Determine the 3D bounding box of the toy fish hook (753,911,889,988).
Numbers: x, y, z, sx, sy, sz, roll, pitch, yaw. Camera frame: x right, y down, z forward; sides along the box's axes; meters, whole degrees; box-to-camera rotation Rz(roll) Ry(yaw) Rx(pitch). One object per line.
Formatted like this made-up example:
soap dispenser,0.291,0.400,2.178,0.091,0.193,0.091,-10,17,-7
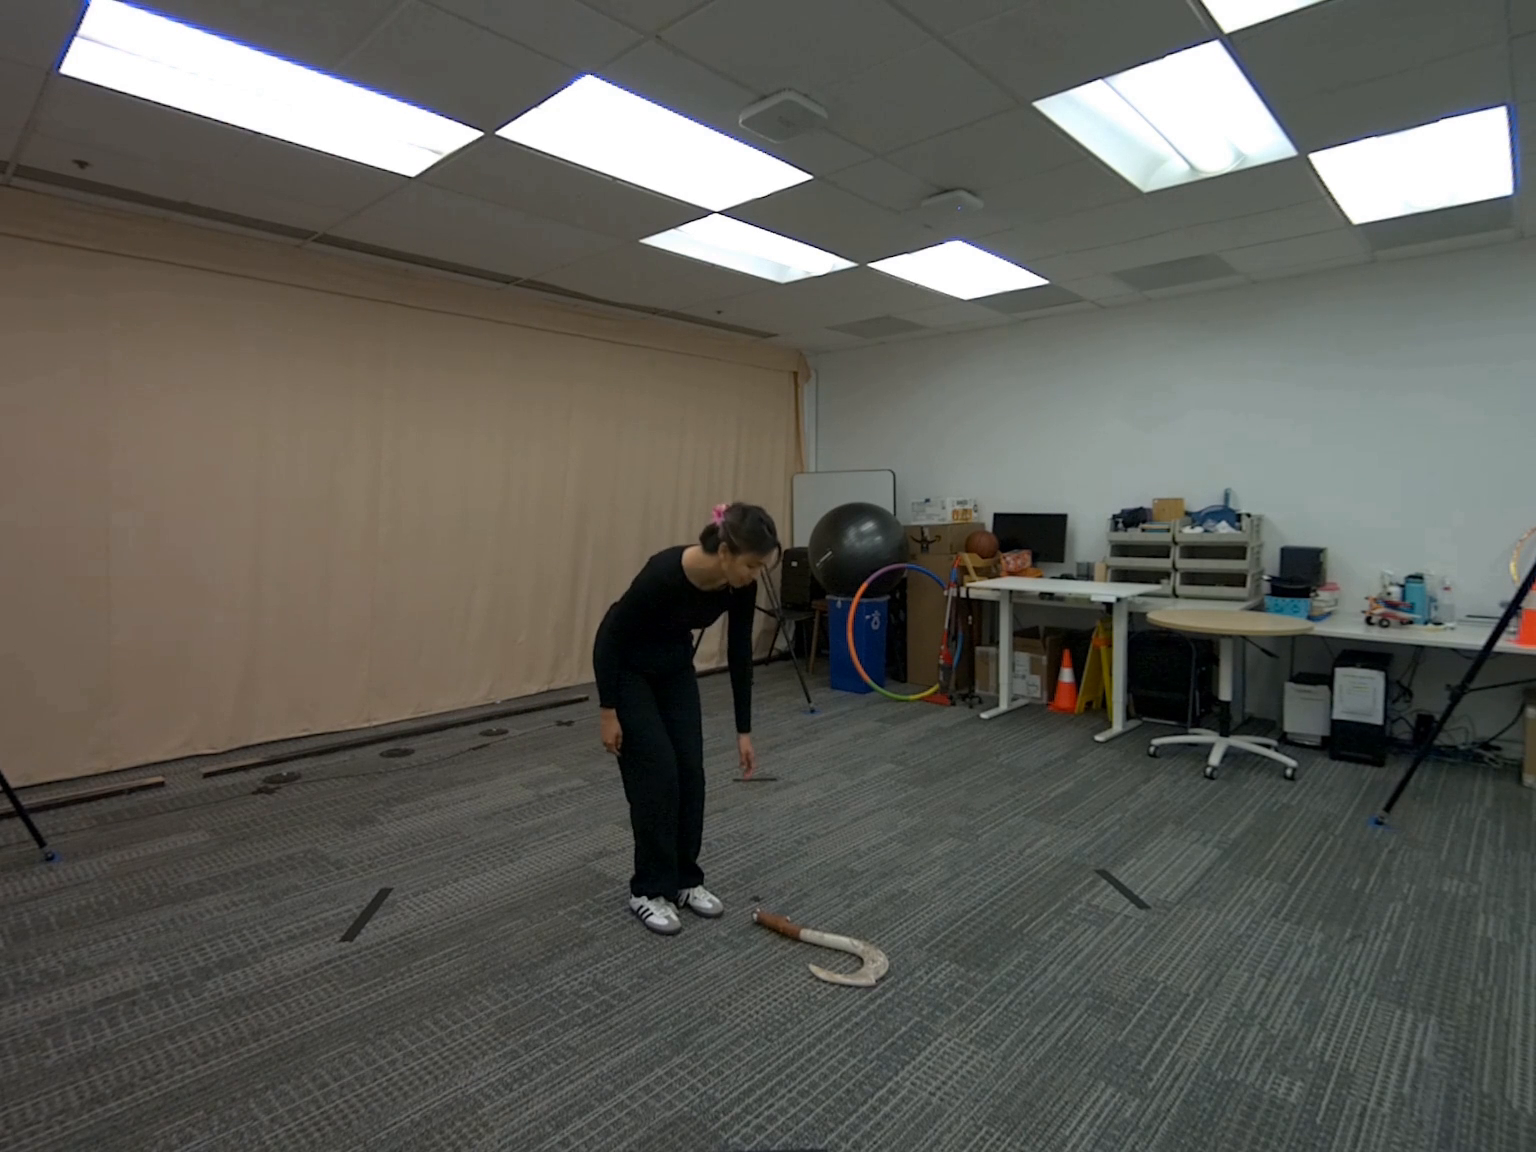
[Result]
toy fish hook,0.133,1.155,2.619,0.523,0.048,0.218,3,4,38
